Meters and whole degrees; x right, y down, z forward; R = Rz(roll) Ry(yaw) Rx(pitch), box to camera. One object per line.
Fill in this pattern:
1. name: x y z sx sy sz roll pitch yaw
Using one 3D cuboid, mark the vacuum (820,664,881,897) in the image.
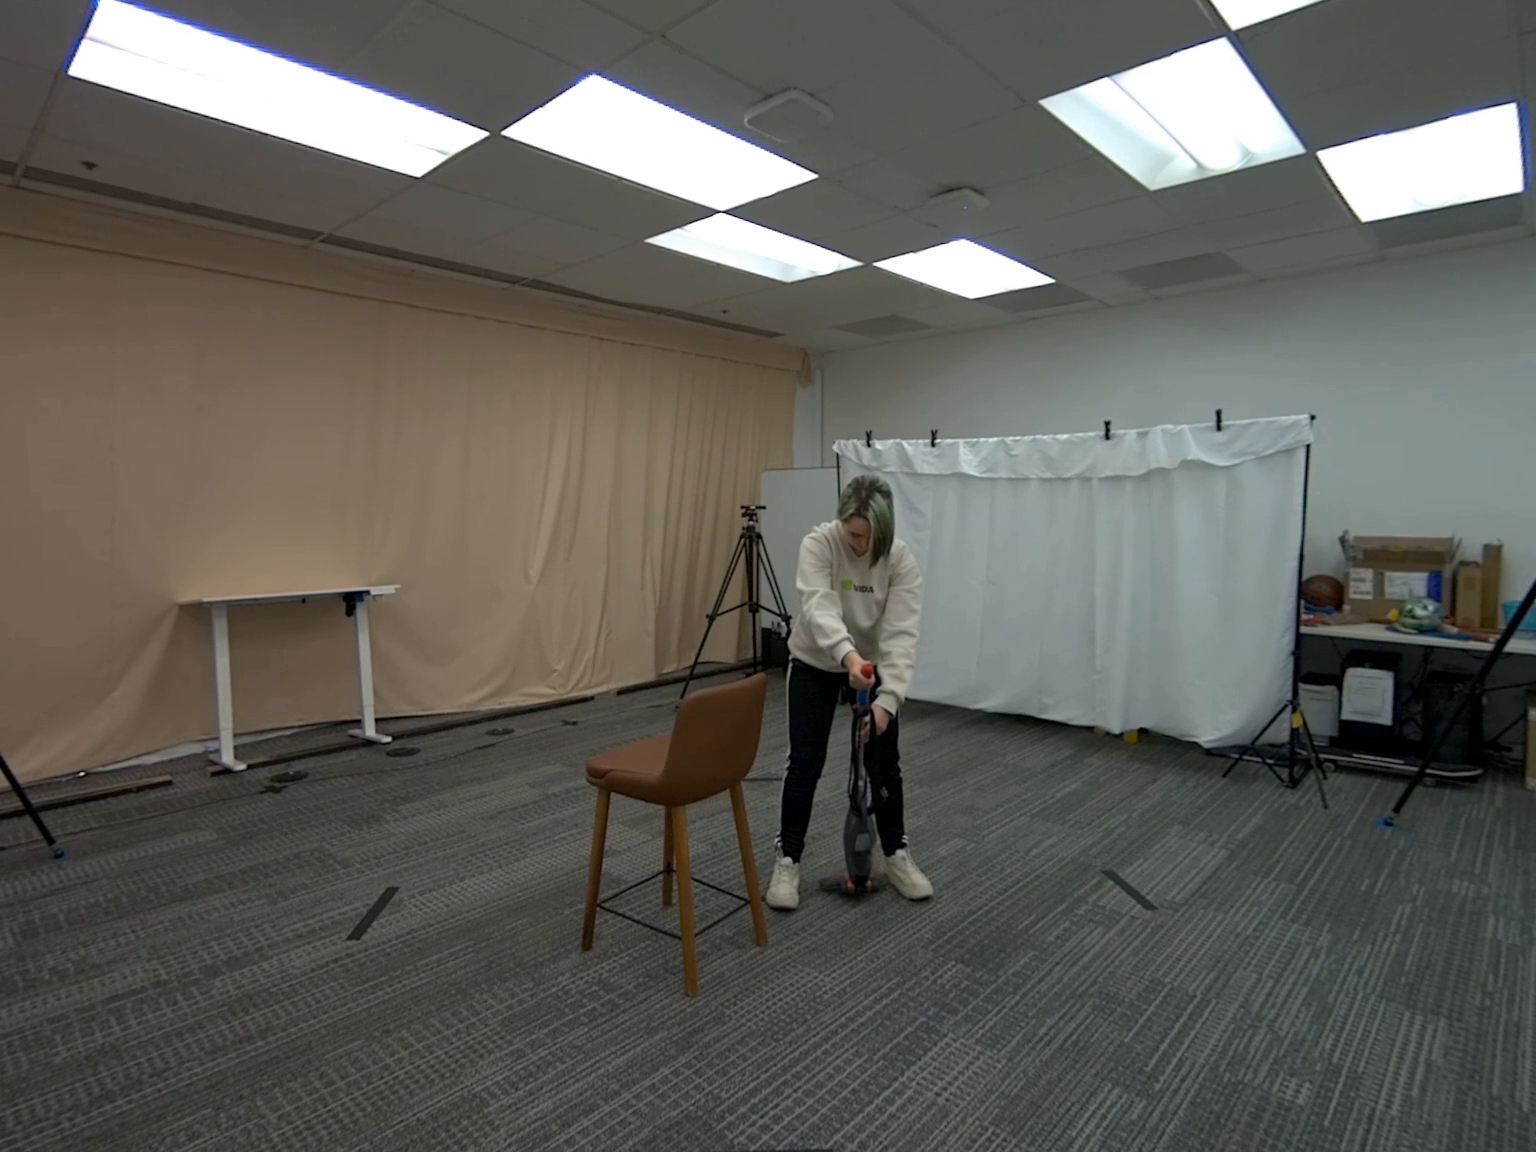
1. vacuum: 0.304 0.684 2.707 0.257 1.029 0.144 8 37 15
